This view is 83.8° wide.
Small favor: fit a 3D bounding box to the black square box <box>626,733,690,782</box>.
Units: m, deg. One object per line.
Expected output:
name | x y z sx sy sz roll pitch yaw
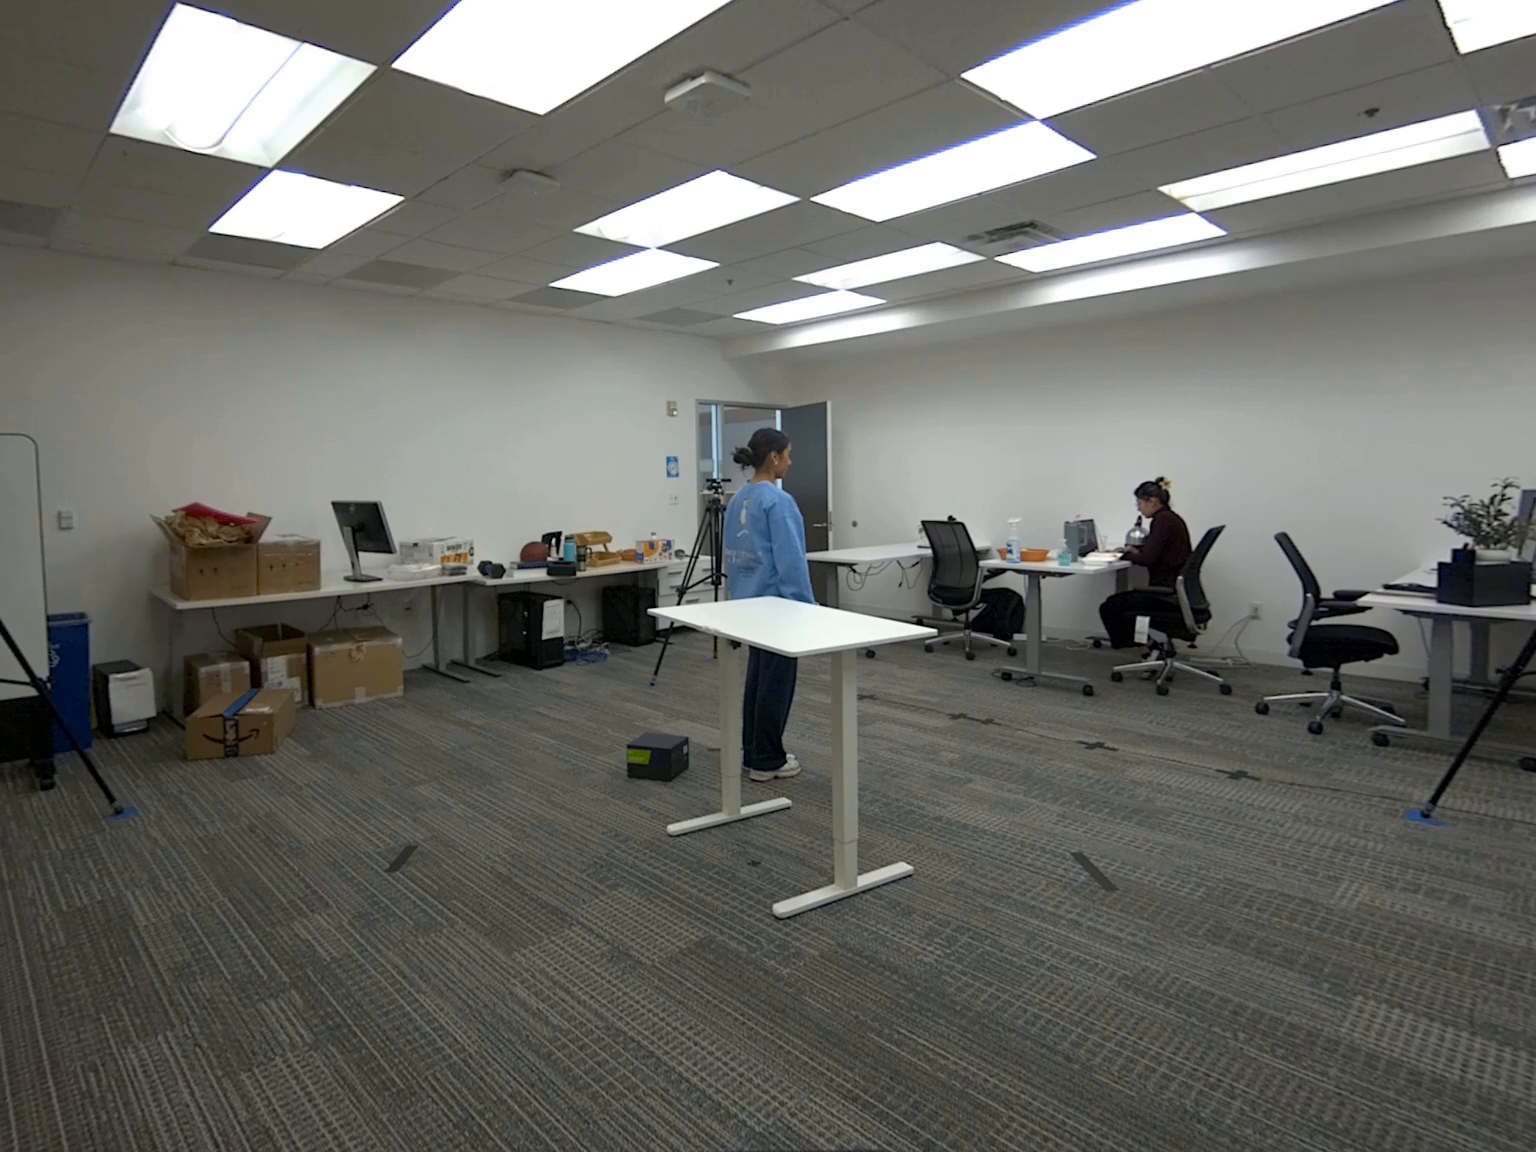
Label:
black square box | -0.528 0.861 4.097 0.232 0.155 0.214 1 5 20
